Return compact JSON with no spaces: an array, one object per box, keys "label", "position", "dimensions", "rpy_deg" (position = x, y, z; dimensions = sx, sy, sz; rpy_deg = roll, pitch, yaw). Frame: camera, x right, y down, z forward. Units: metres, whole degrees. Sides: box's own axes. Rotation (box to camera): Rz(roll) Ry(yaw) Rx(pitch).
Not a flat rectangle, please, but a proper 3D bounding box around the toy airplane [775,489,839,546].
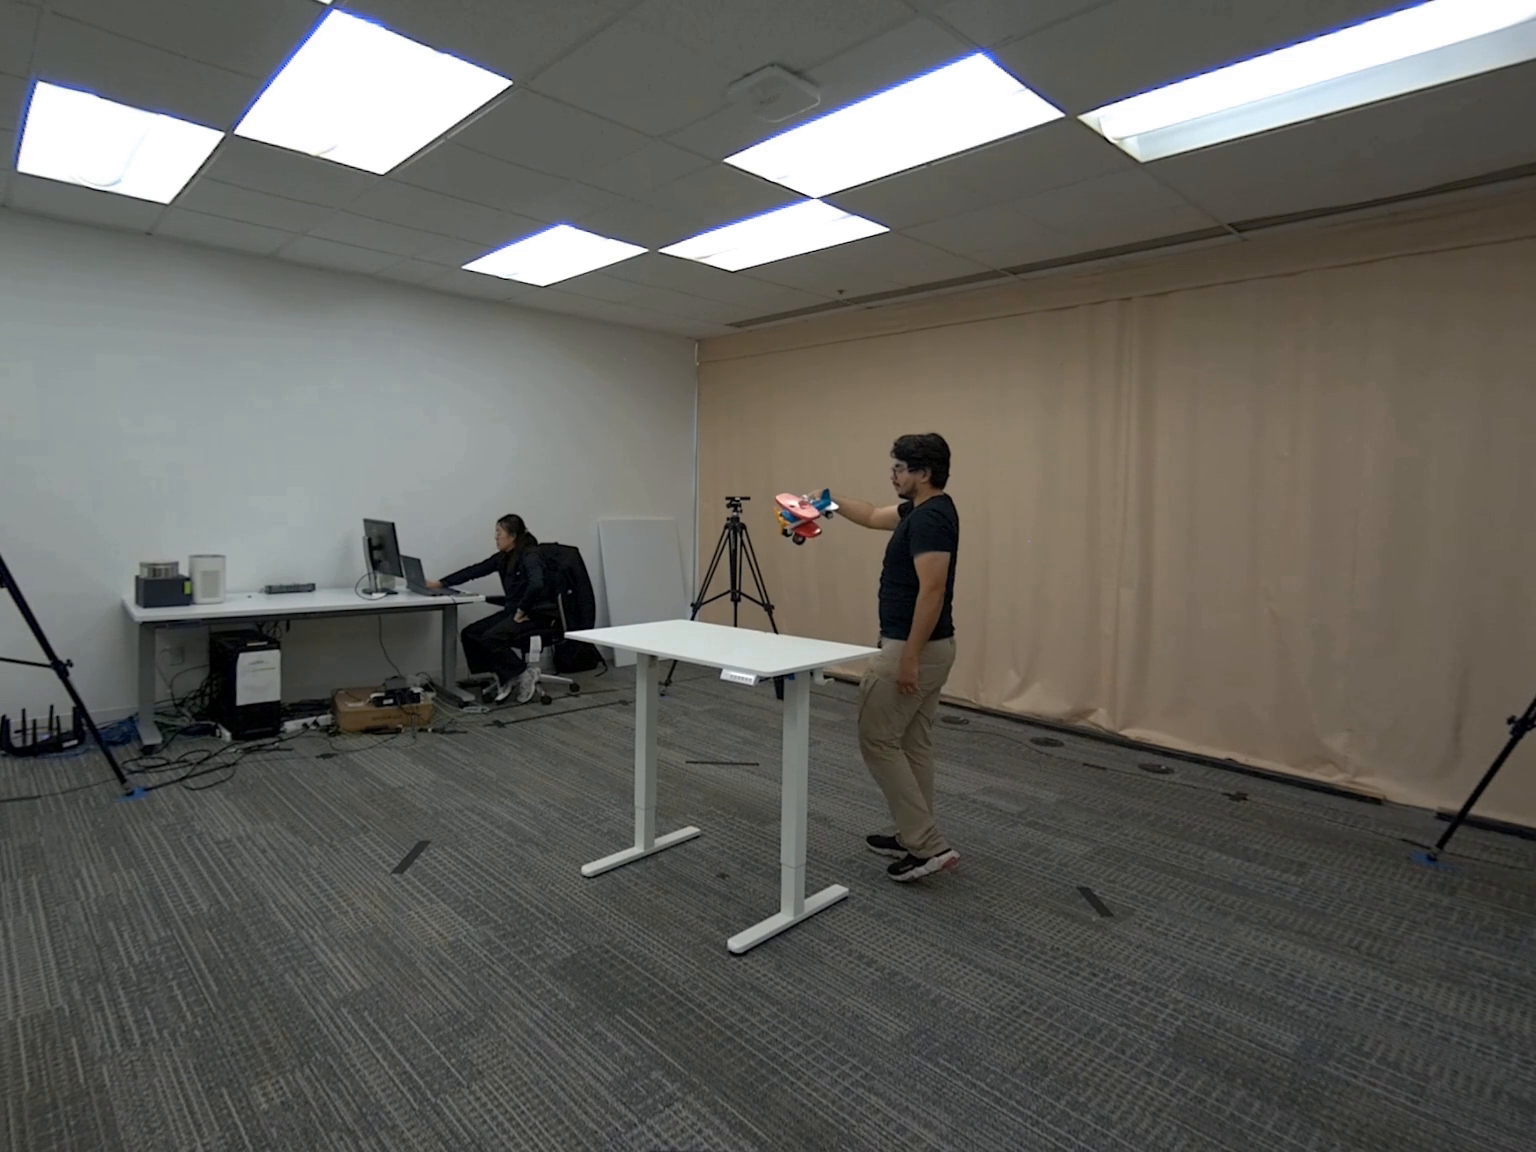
[{"label":"toy airplane","position":[0.142,-0.257,3.455],"dimensions":[0.257,0.152,0.260],"rpy_deg":[8,47,31]}]
